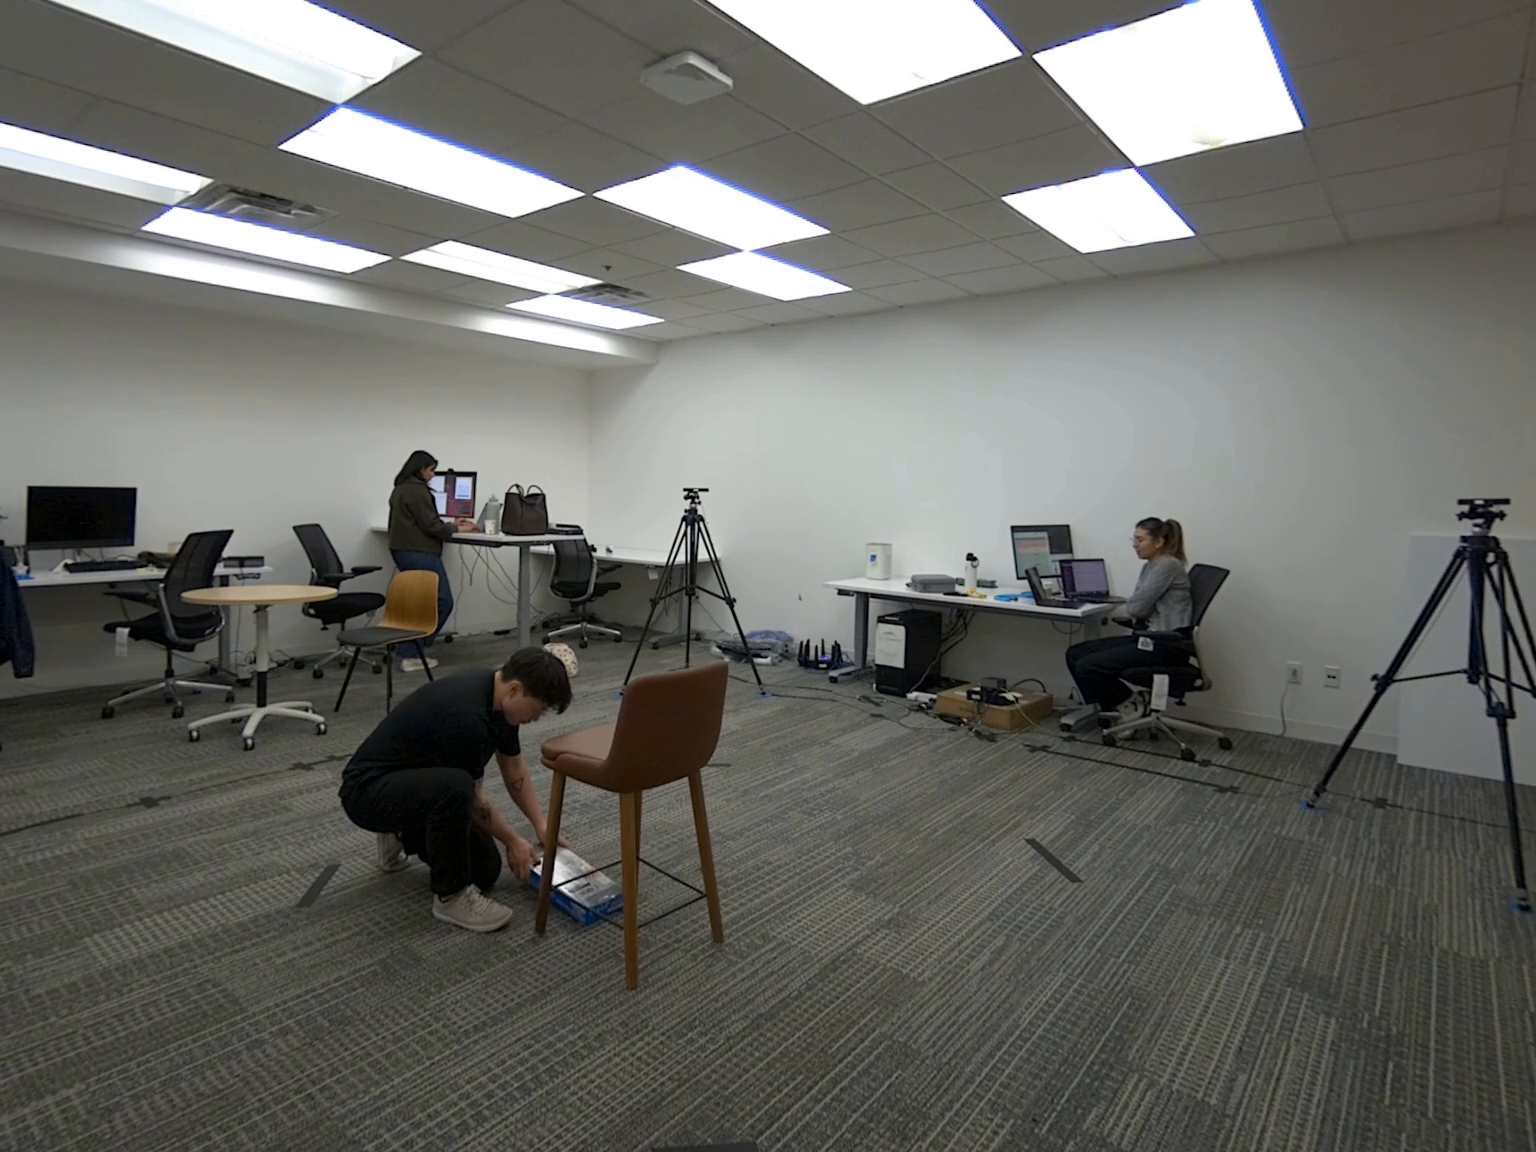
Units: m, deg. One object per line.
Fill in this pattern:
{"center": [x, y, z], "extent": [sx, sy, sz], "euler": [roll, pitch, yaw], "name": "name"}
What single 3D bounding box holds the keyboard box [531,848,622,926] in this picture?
{"center": [-0.698, 1.042, 2.877], "extent": [0.453, 0.058, 0.171], "euler": [14, 15, 42], "name": "keyboard box"}
